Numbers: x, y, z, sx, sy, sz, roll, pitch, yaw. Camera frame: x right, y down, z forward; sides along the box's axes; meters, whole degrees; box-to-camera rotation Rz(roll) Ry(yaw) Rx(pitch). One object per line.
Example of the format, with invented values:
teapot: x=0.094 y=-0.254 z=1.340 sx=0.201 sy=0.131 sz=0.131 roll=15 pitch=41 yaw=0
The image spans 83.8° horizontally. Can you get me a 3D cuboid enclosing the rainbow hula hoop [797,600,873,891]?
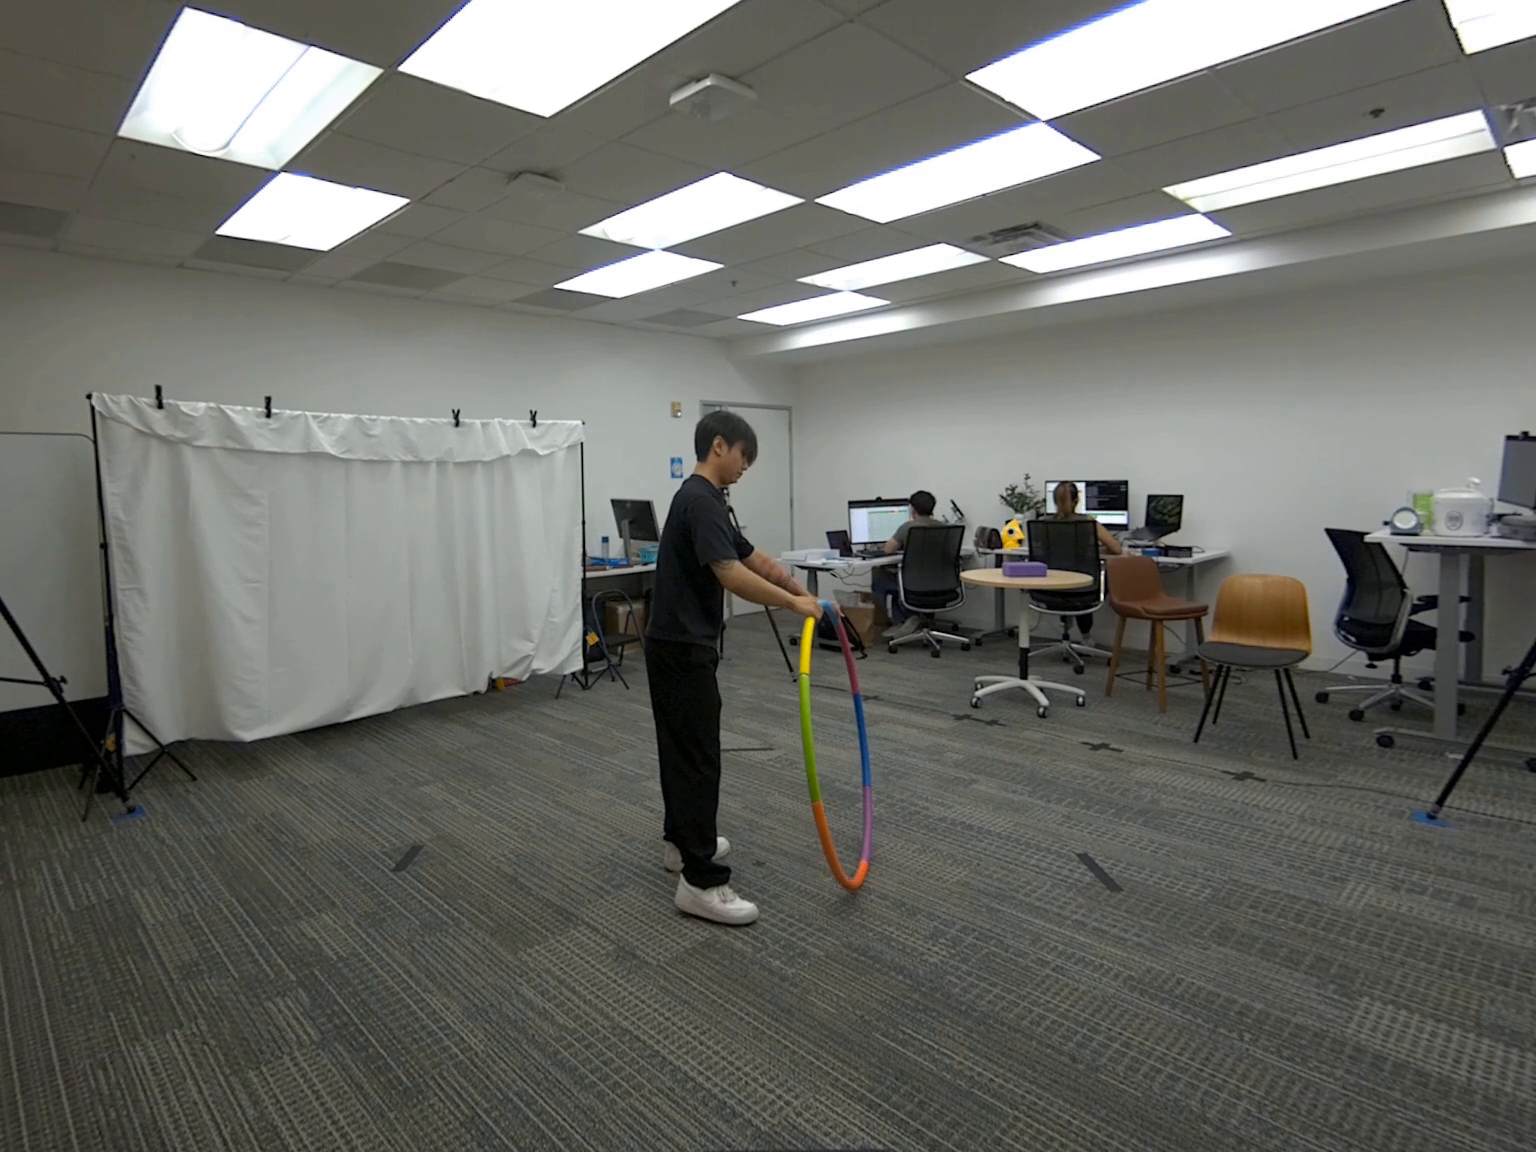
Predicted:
rainbow hula hoop: x=0.256 y=0.578 z=3.005 sx=0.036 sy=0.977 sz=0.967 roll=-9 pitch=2 yaw=15
